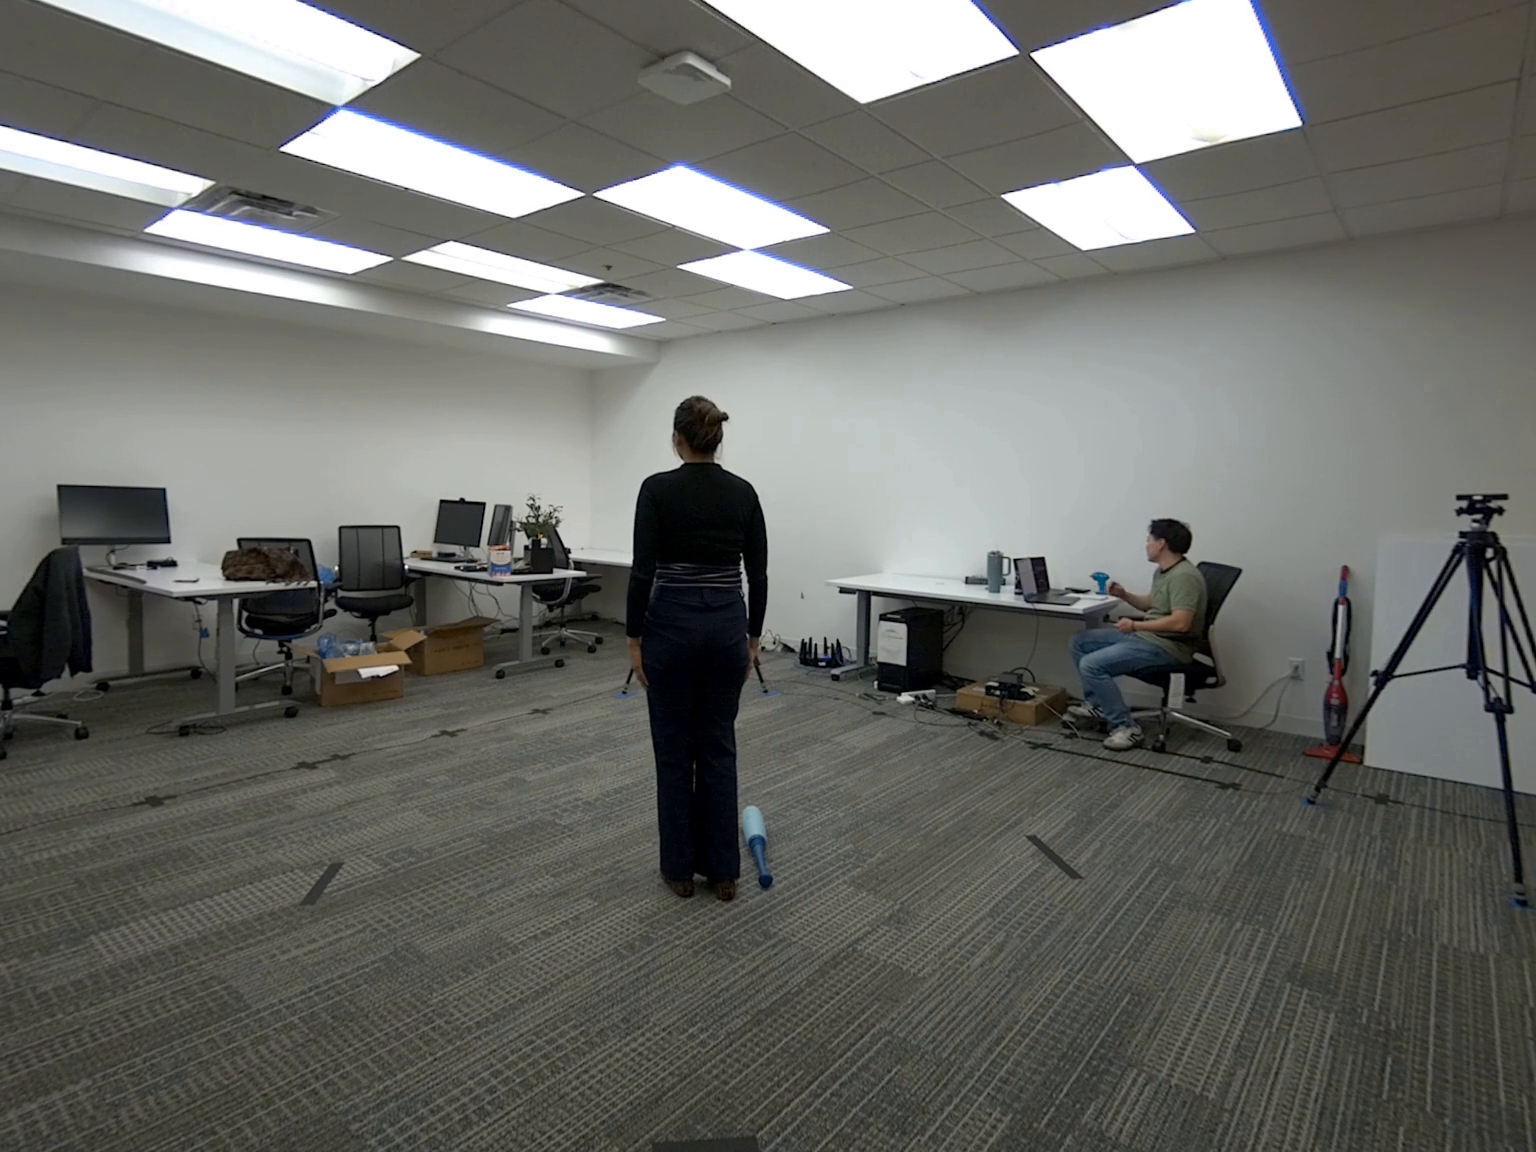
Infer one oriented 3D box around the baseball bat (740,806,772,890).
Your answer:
[{"bbox_3d":[-0.043,1.024,3.228,0.088,0.088,0.551,0,9,-8],"label":"baseball bat"}]
